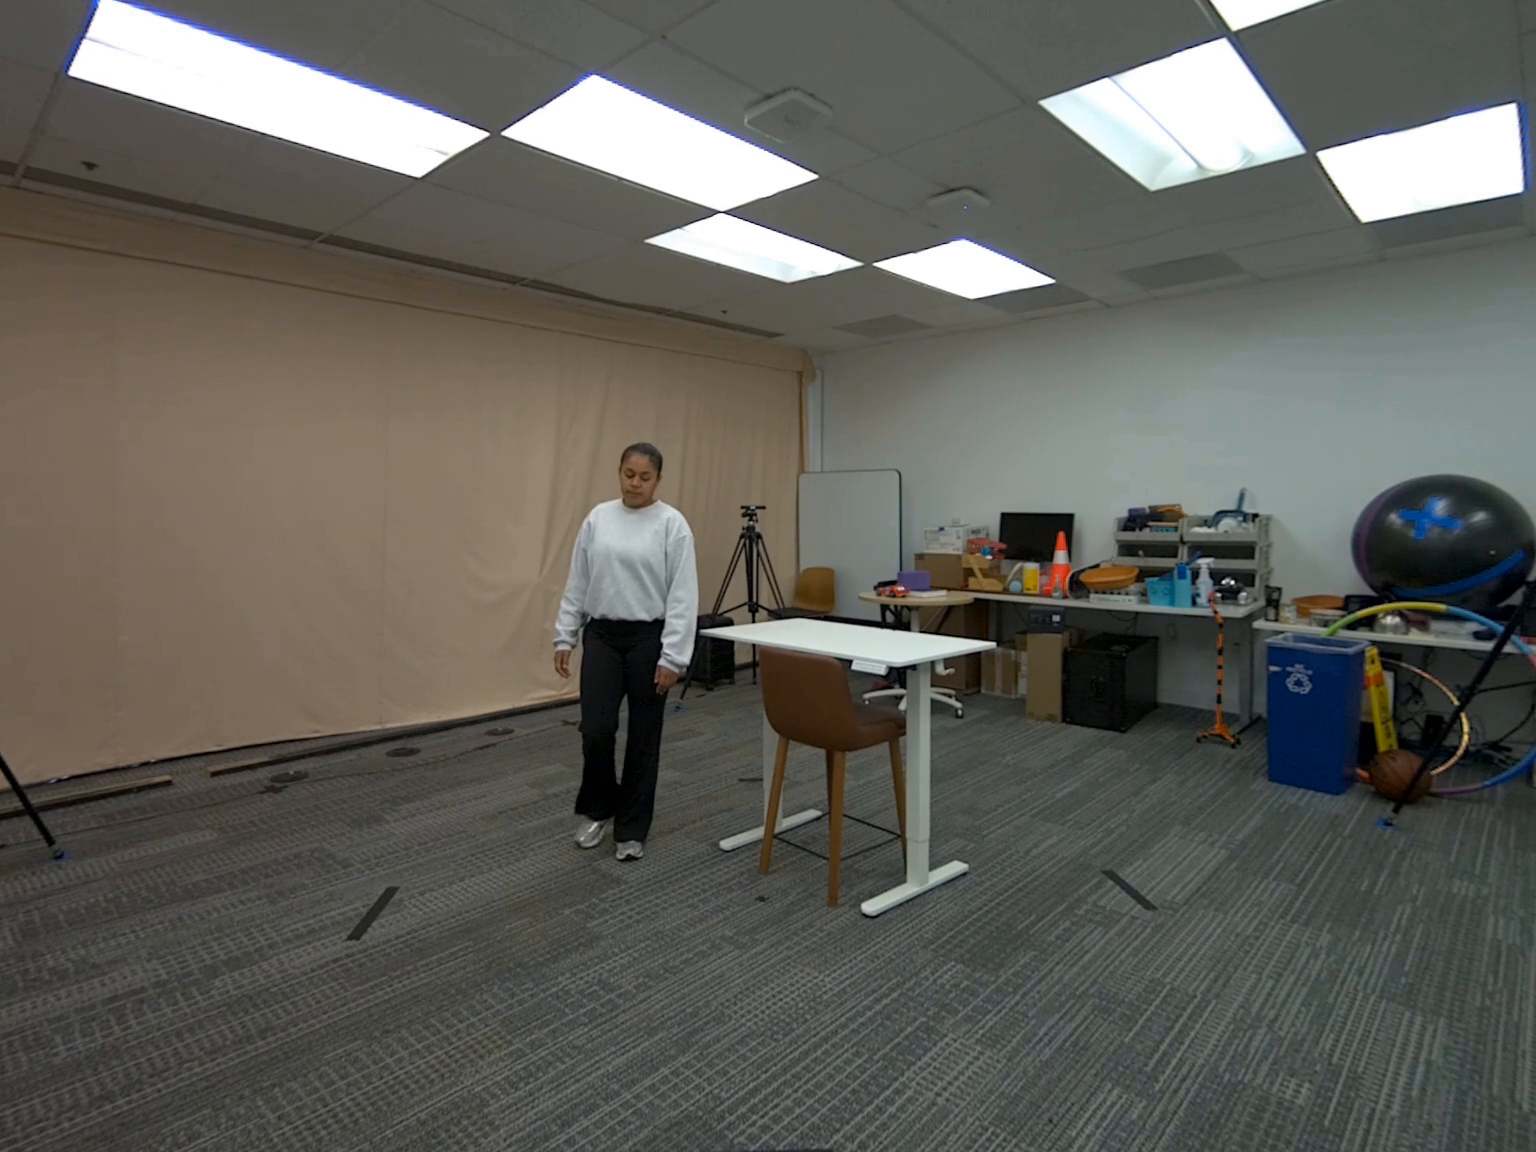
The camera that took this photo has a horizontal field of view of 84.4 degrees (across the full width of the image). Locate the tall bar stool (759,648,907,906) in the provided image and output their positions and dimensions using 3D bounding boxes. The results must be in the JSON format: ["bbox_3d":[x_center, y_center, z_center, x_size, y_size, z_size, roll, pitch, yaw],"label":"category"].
[{"bbox_3d":[0.252,0.695,3.174,0.453,0.887,0.472,-5,6,-43],"label":"tall bar stool"}]
